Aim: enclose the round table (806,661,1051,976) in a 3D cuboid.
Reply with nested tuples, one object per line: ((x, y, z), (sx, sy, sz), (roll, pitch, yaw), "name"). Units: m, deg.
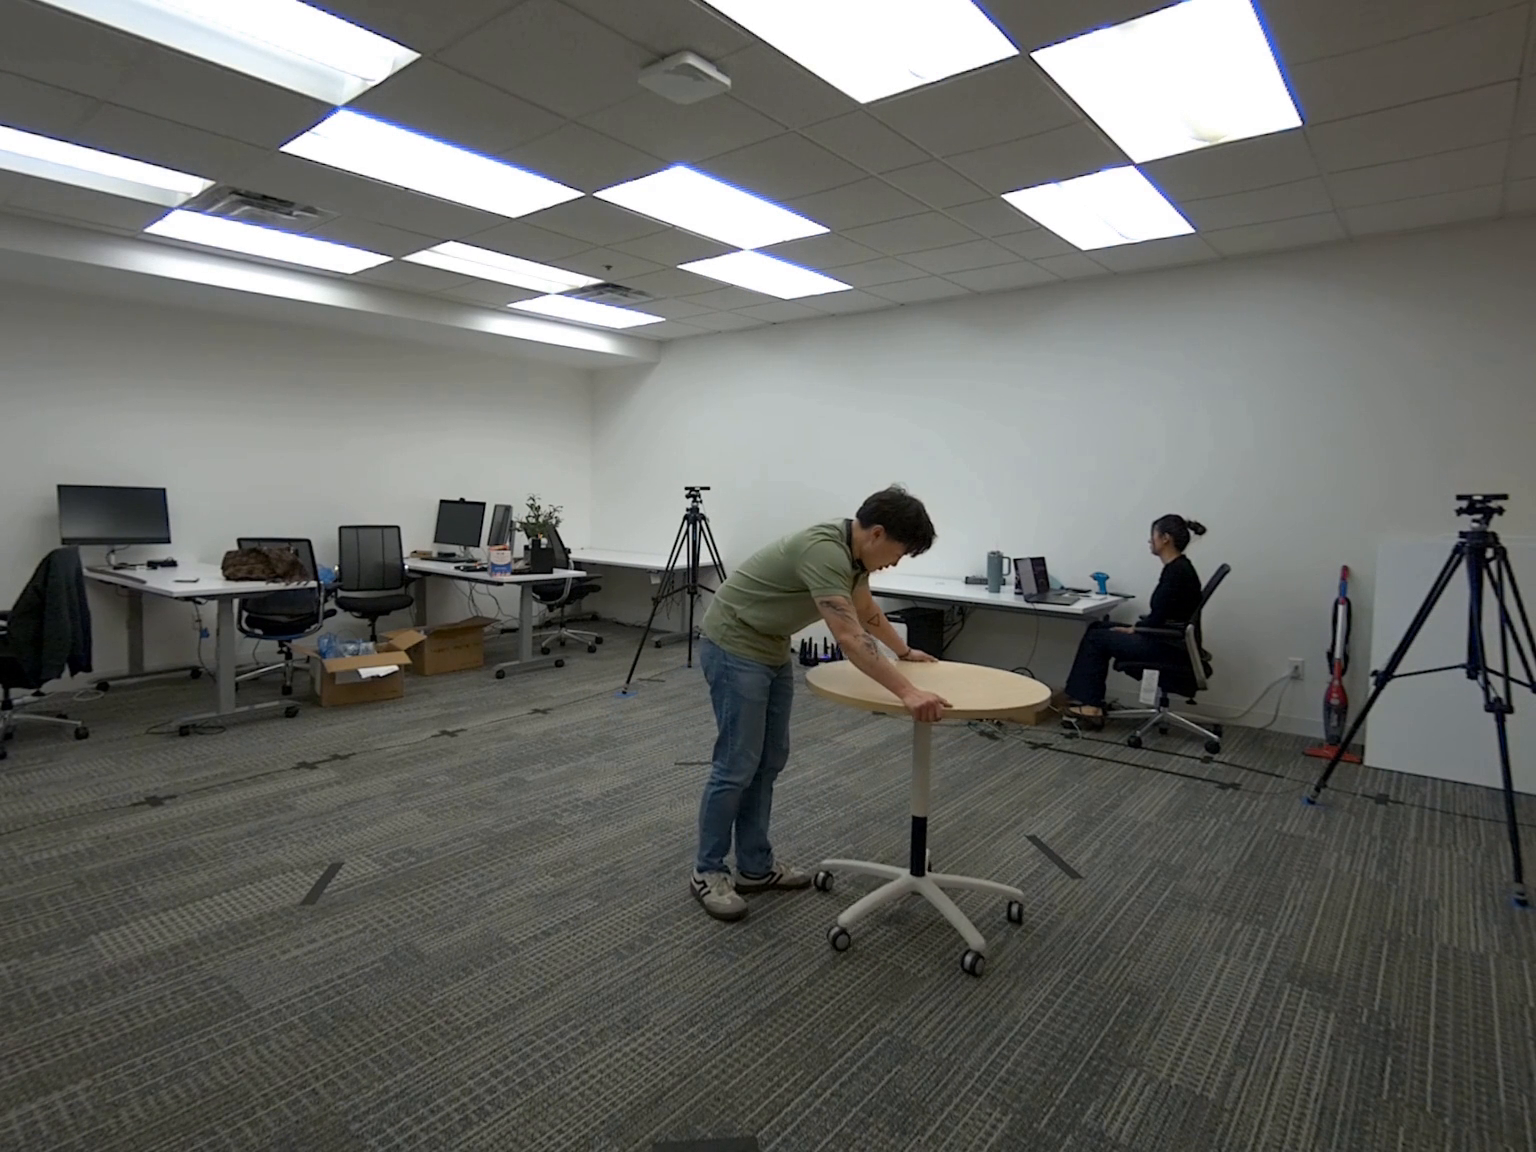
((0.483, 0.729, 2.757), (0.763, 0.792, 0.767), (1, 4, -2), "round table")
